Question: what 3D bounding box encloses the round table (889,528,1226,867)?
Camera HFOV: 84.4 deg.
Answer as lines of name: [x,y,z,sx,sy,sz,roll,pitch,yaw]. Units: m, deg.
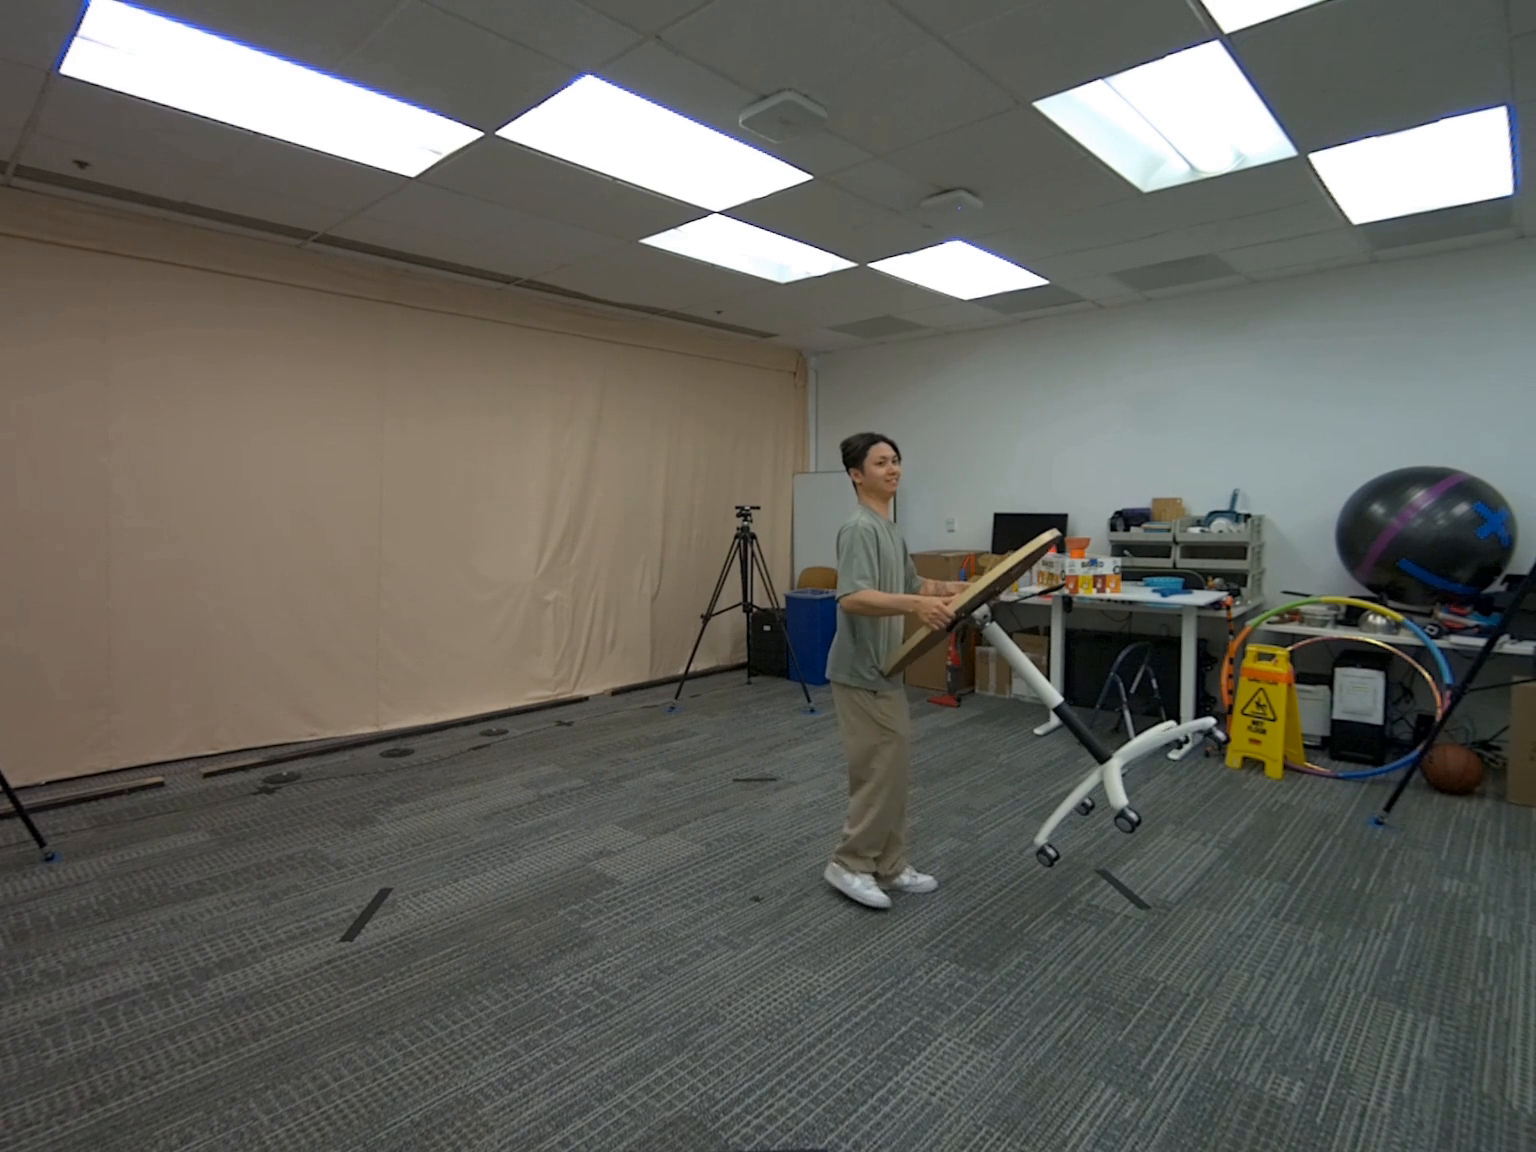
round table: [0.929,0.407,2.776,0.779,0.802,0.776,-35,-16,-14]
